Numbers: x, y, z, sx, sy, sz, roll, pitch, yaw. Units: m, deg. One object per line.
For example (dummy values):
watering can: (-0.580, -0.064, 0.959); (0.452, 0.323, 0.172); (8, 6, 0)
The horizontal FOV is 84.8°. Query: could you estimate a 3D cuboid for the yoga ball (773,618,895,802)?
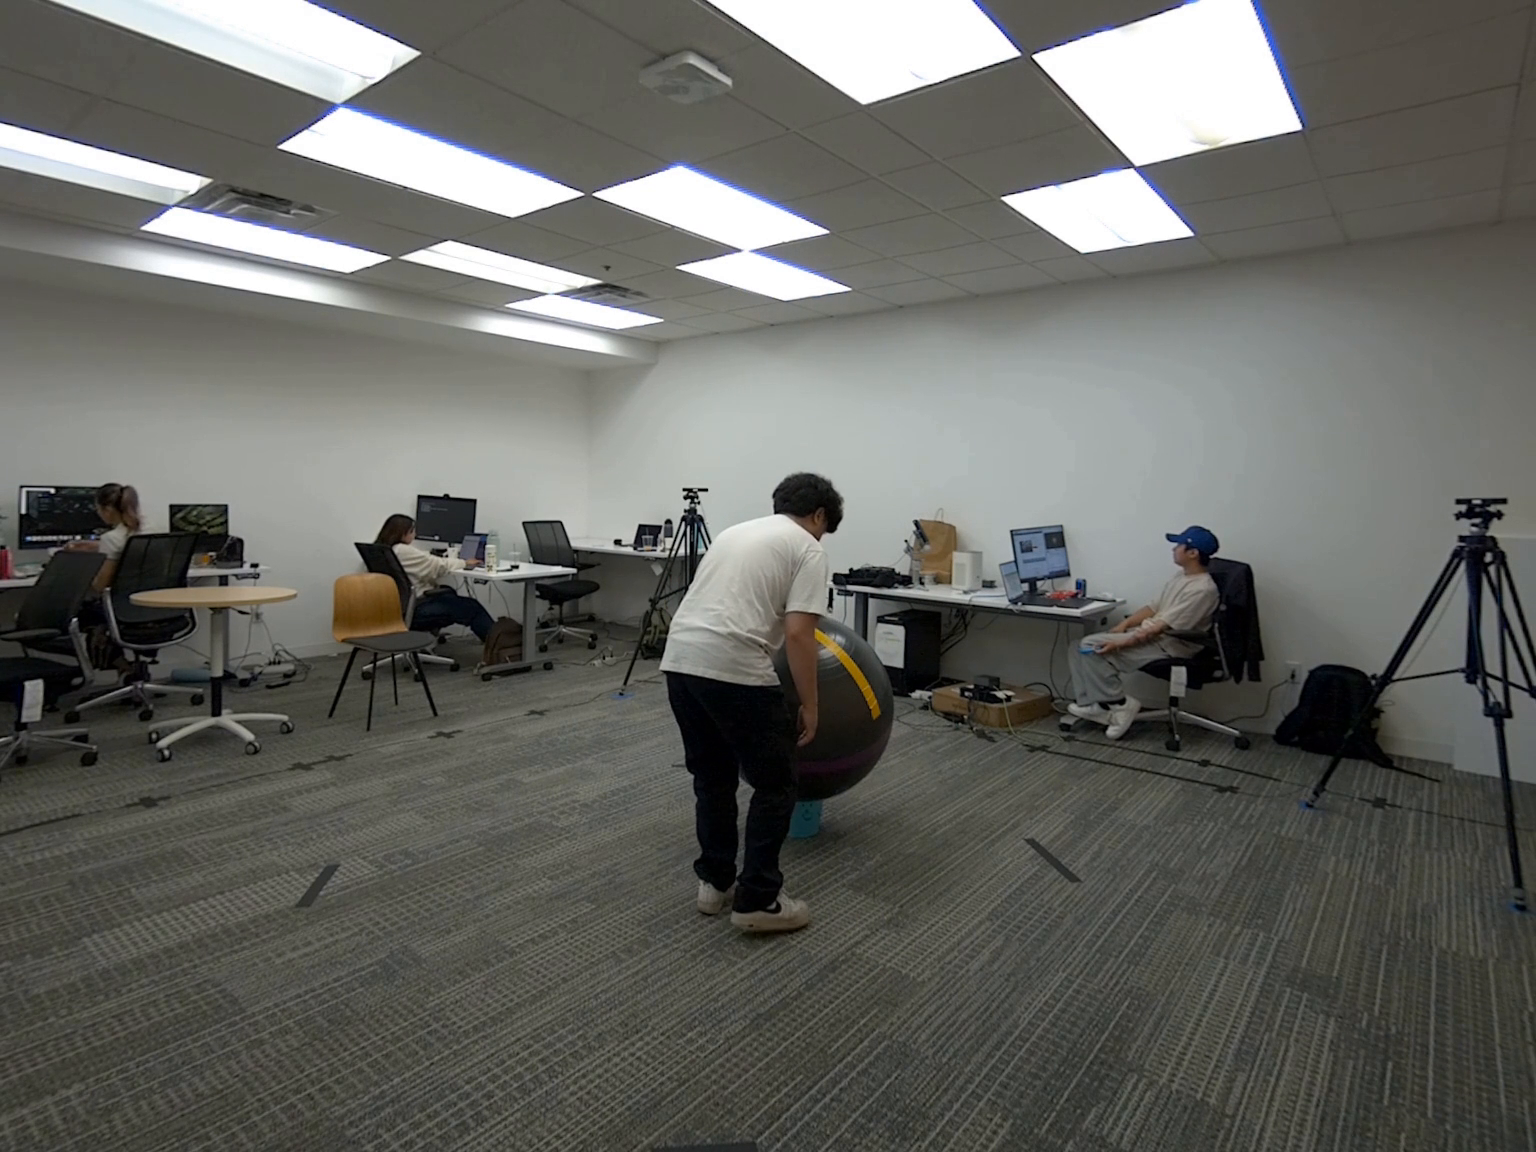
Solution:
yoga ball: (0.123, 0.523, 3.481); (0.757, 0.756, 0.761); (1, 4, -2)
